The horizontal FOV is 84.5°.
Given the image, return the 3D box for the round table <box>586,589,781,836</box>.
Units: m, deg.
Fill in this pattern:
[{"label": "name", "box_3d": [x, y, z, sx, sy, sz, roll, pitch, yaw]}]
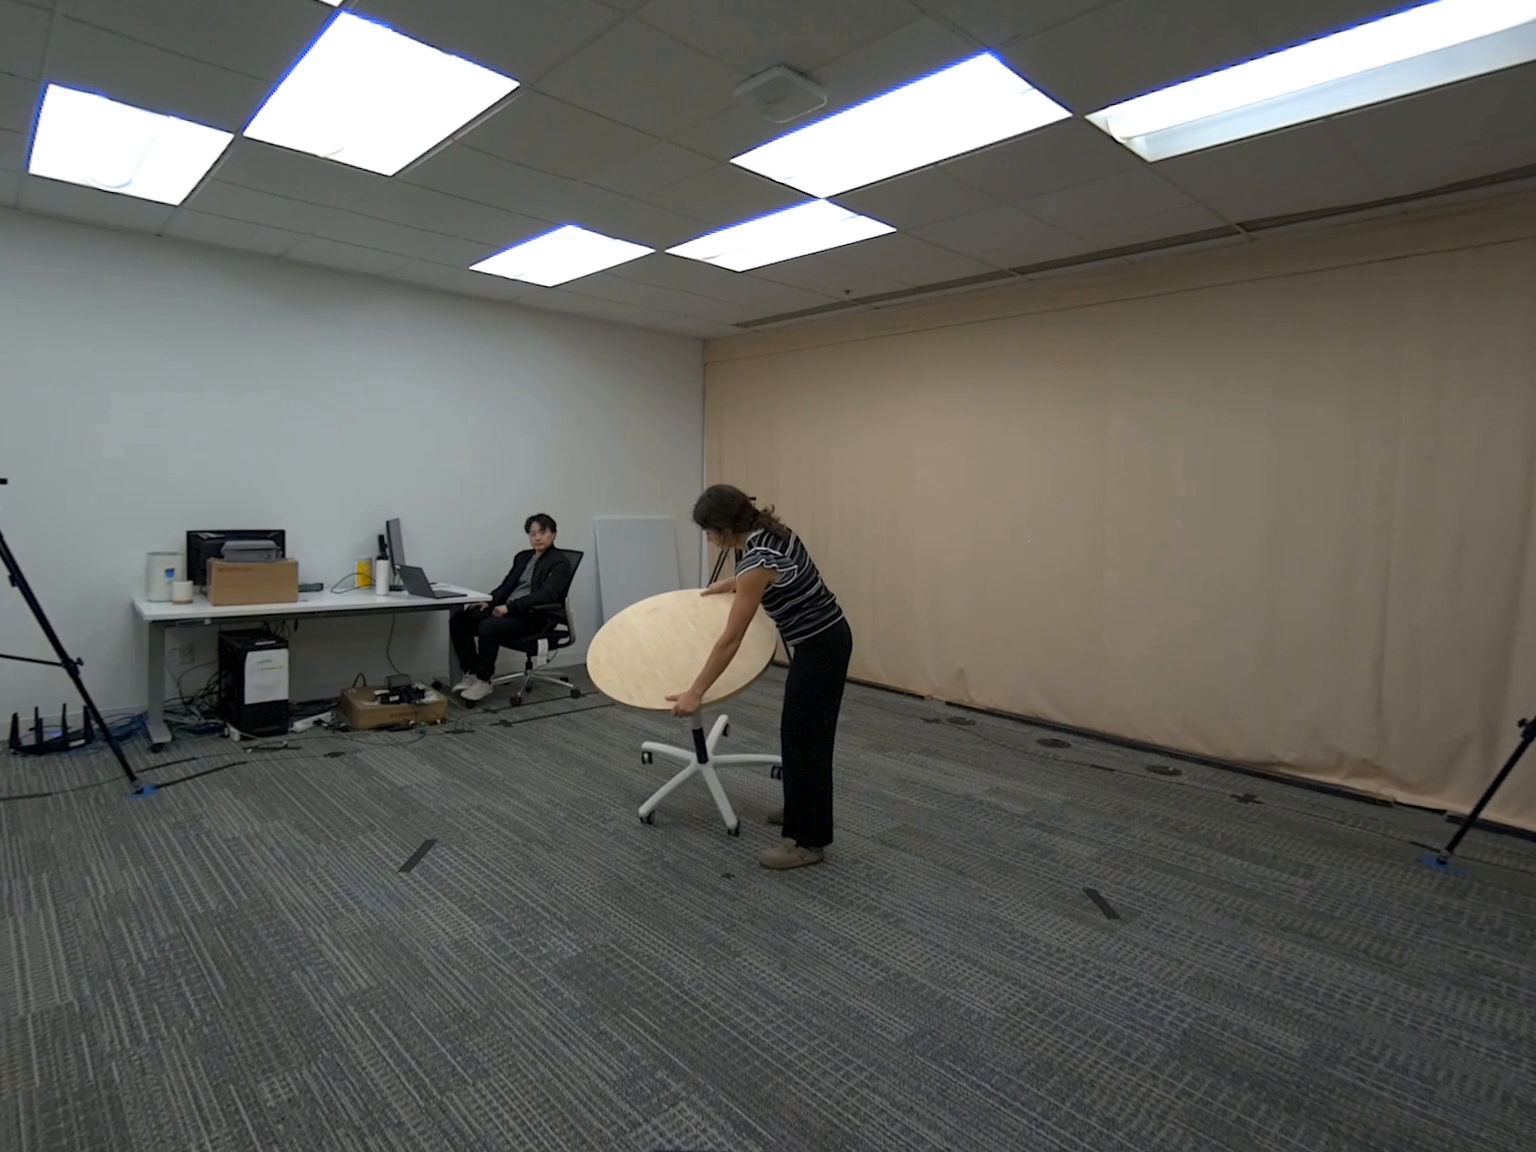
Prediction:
[{"label": "round table", "box_3d": [-0.318, 0.595, 3.573, 0.765, 0.777, 0.779, -5, 31, 2]}]
